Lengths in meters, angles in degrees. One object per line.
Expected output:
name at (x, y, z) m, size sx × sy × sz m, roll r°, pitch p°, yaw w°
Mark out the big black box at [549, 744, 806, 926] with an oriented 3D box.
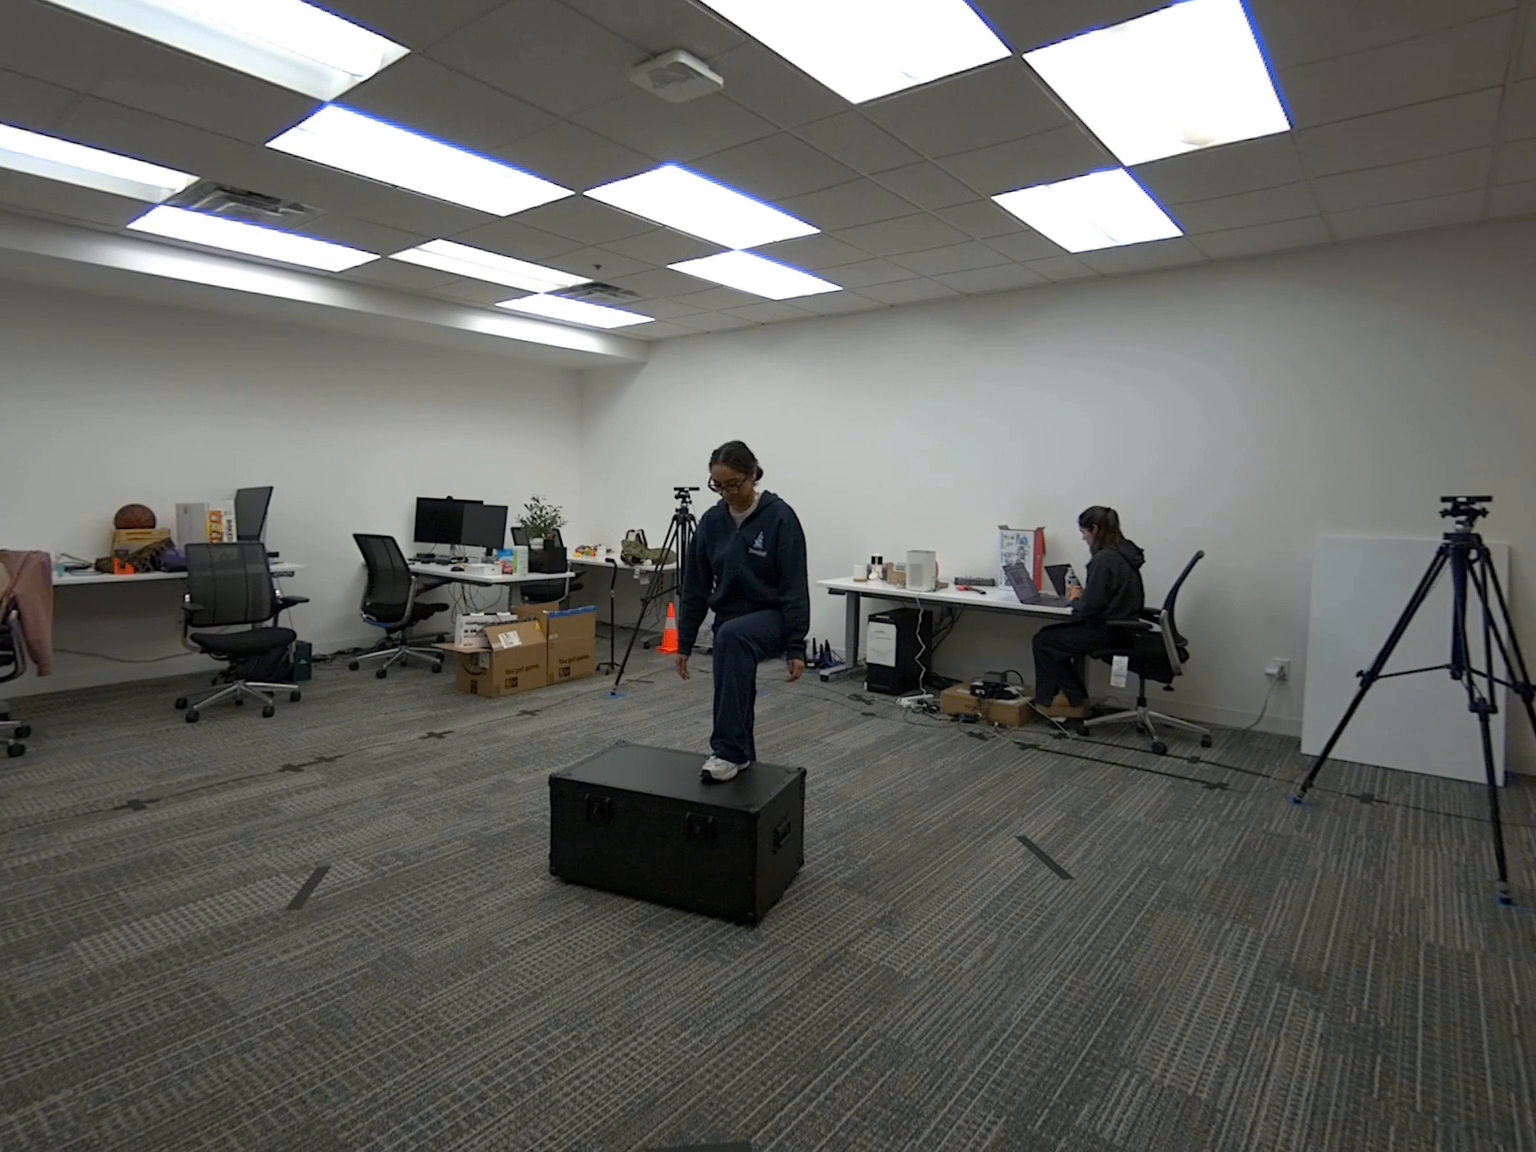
big black box at (-0.356, 0.880, 3.052) m, size 0.882 × 0.395 × 0.511 m, roll 3°, pitch 5°, yaw 23°
